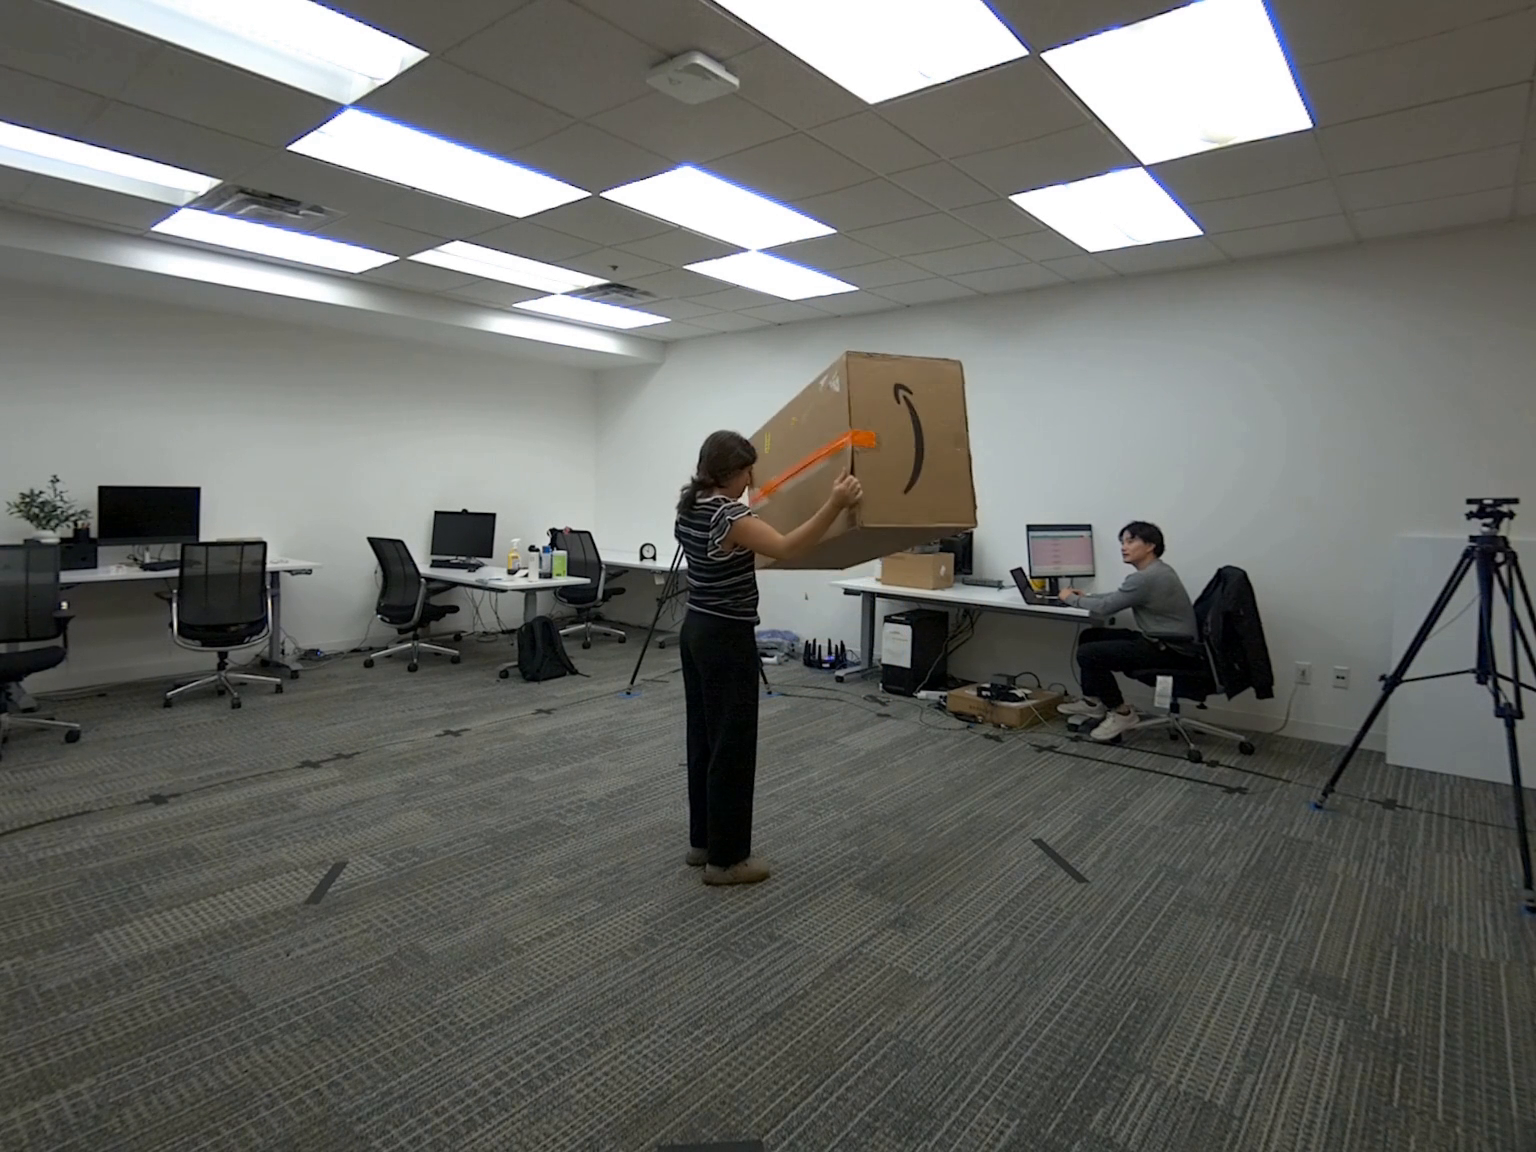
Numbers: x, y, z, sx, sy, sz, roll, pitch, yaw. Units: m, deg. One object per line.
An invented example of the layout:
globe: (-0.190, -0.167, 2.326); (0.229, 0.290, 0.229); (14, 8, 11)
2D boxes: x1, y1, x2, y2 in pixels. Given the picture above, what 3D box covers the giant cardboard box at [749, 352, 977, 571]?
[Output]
giant cardboard box: (0.279, -0.371, 3.208); (0.418, 0.583, 1.035); (2, -8, -18)
